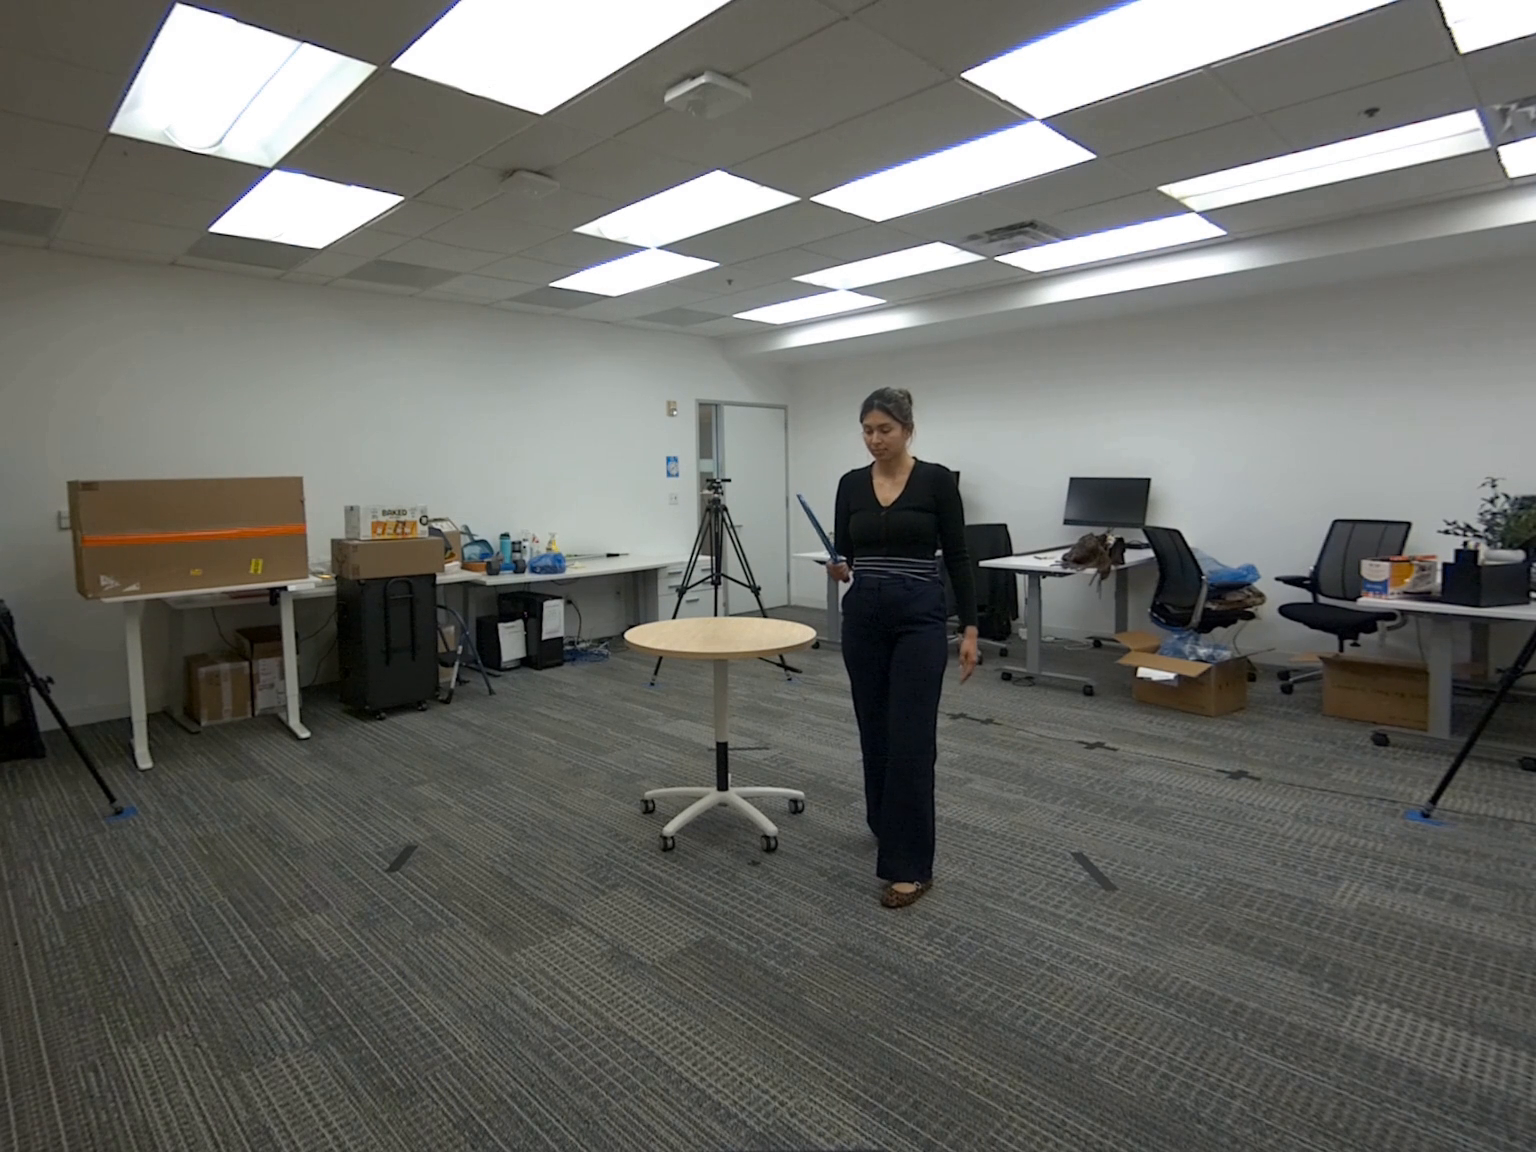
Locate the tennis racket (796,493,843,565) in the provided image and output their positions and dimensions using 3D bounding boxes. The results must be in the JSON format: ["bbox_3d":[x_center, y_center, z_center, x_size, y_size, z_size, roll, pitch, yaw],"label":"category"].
[{"bbox_3d":[0.184,-0.114,2.756,0.032,0.221,0.416,-25,-42,6],"label":"tennis racket"}]
